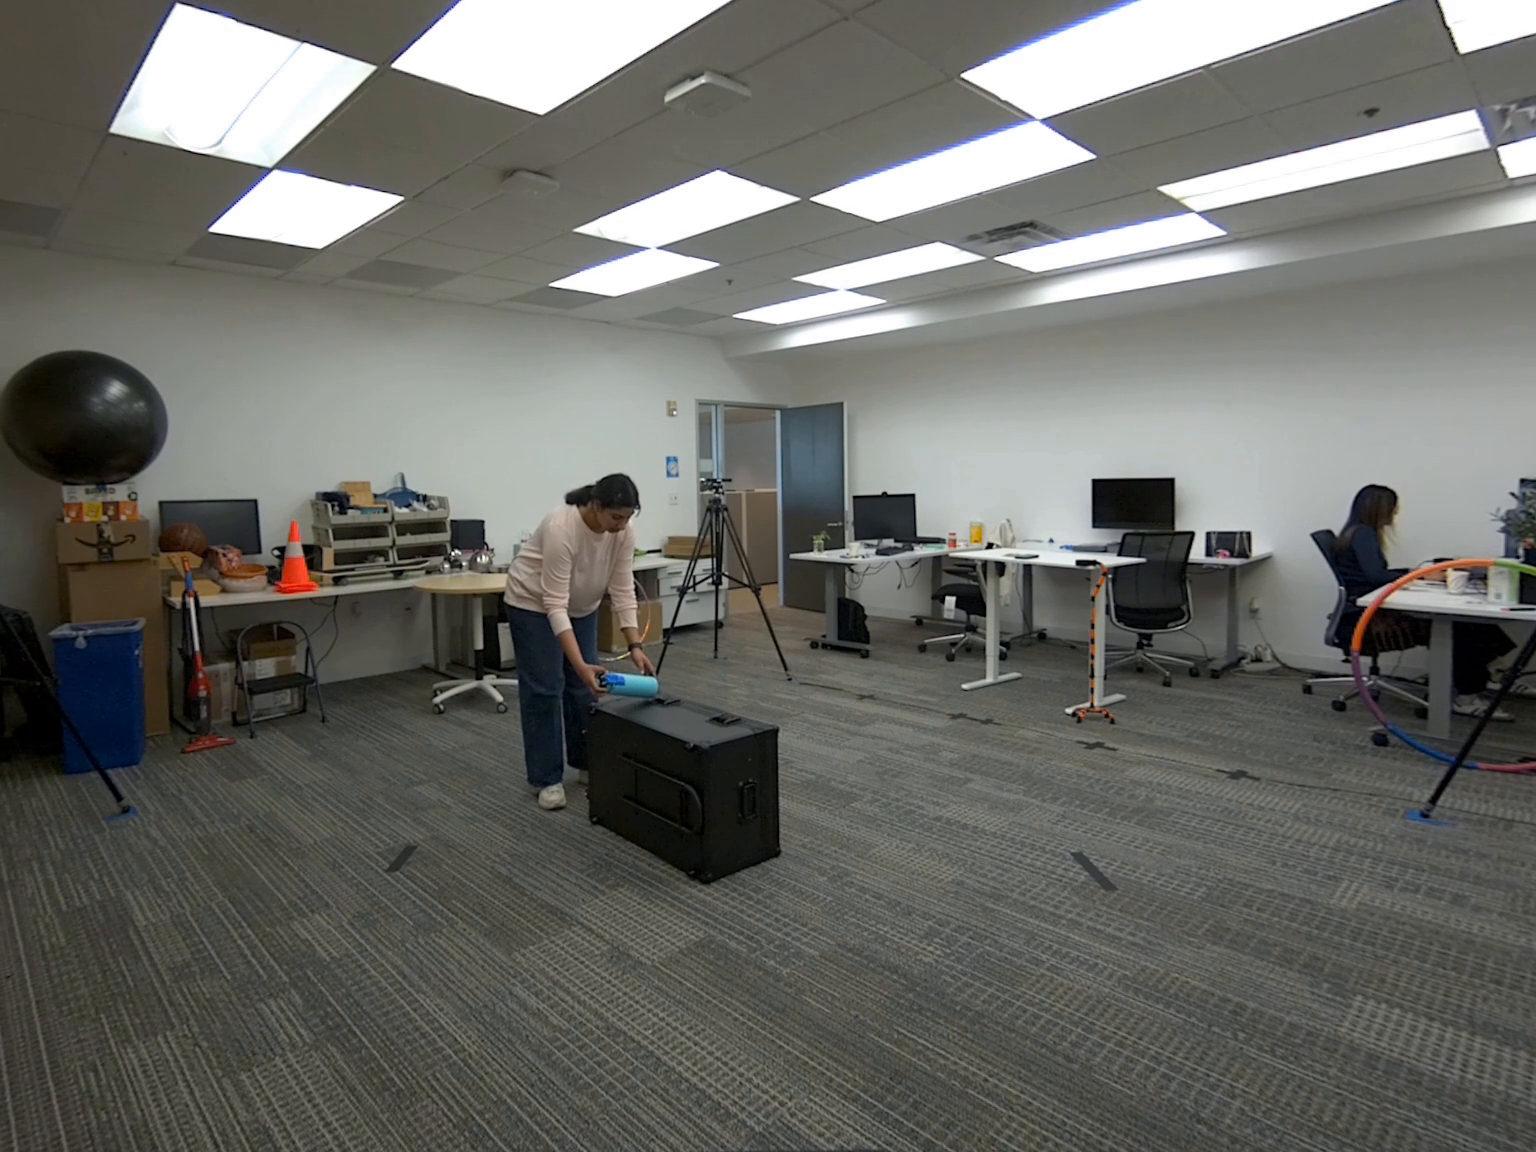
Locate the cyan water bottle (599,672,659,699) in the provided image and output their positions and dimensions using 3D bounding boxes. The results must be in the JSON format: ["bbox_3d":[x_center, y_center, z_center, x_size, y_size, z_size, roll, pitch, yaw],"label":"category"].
[{"bbox_3d":[-0.582,0.446,3.490,0.095,0.093,0.273,3,-8,43],"label":"cyan water bottle"}]
